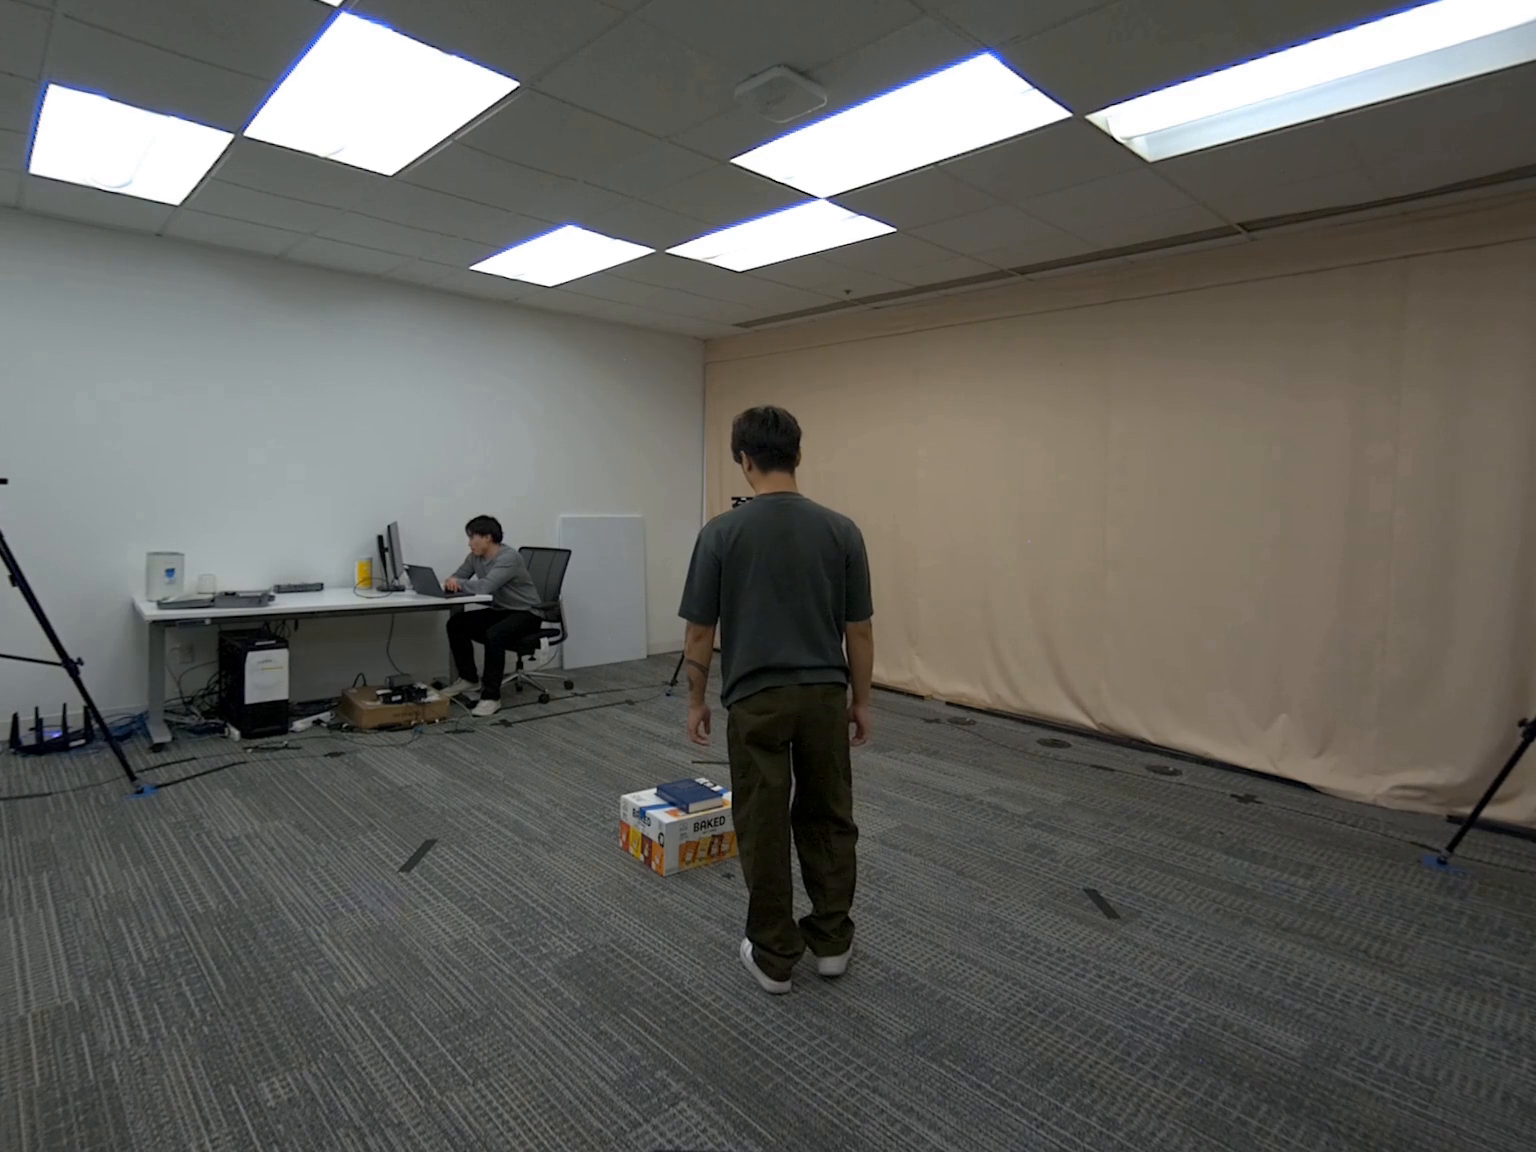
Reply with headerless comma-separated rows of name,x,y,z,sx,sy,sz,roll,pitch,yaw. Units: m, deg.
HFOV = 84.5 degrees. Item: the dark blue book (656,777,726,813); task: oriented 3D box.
dark blue book,-0.326,0.870,3.323,0.160,0.045,0.251,-2,6,-36
